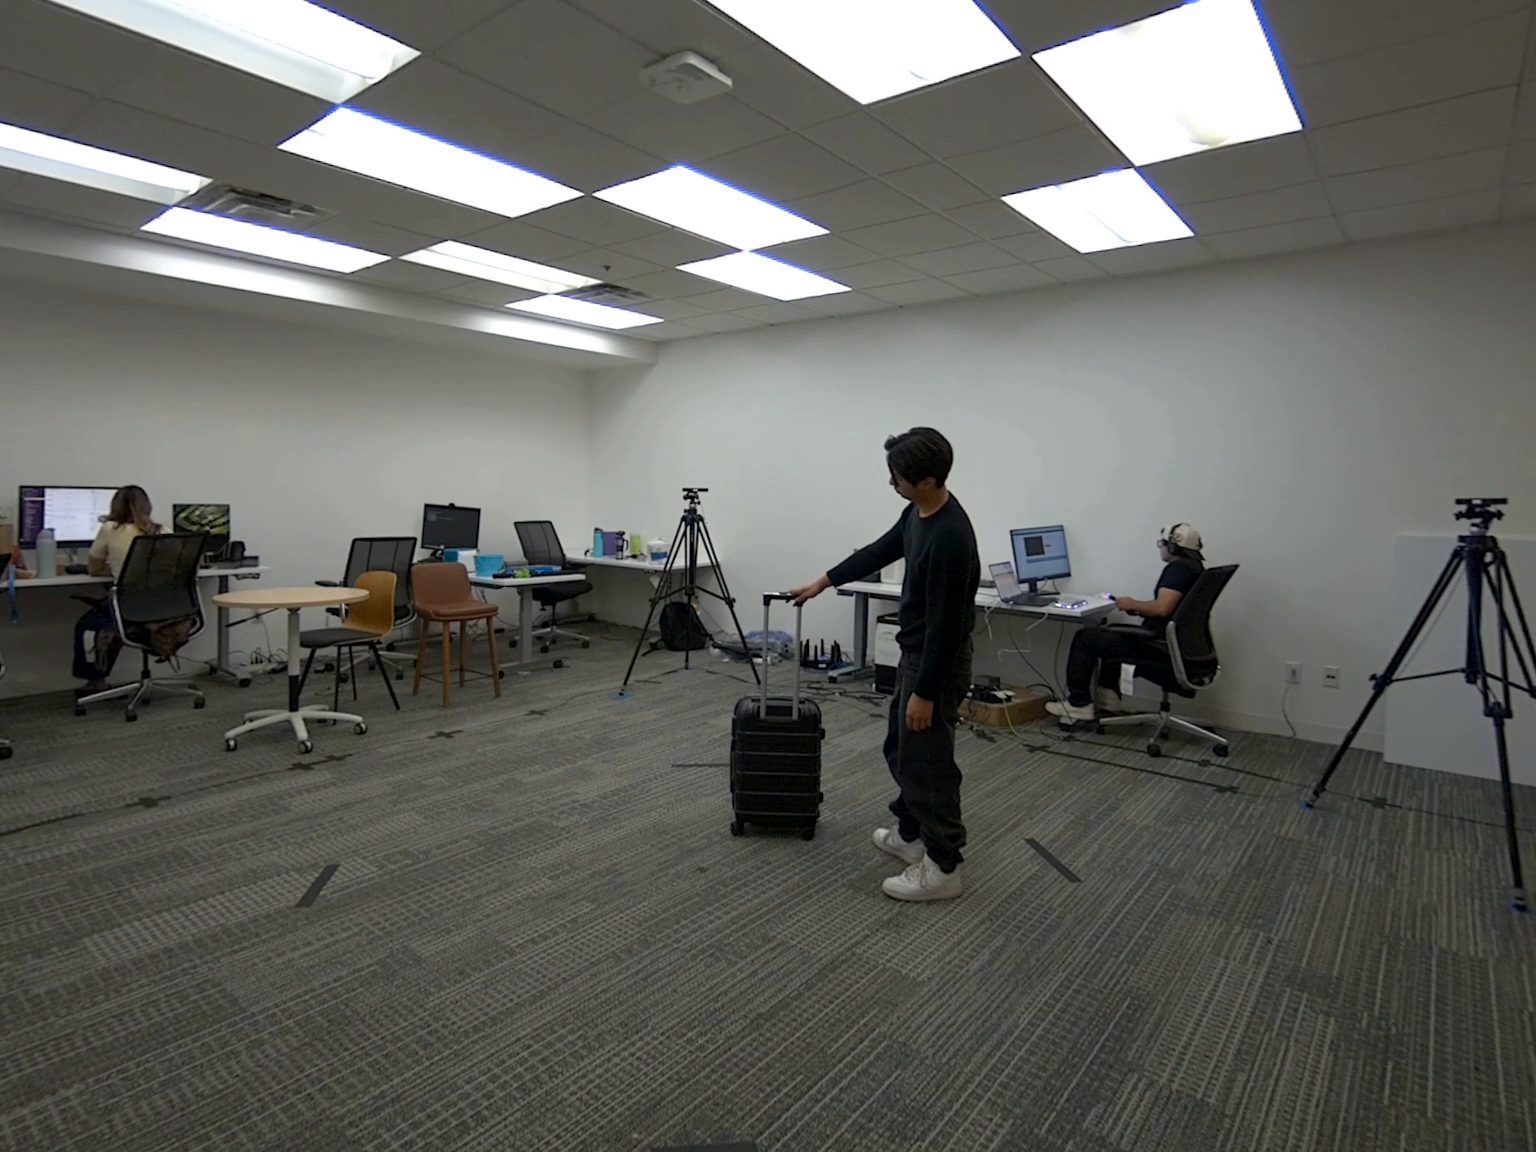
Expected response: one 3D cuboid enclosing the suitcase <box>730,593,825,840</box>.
[{"bbox_3d":[0.031,0.561,3.498,0.384,0.977,0.257,2,1,0],"label":"suitcase"}]
